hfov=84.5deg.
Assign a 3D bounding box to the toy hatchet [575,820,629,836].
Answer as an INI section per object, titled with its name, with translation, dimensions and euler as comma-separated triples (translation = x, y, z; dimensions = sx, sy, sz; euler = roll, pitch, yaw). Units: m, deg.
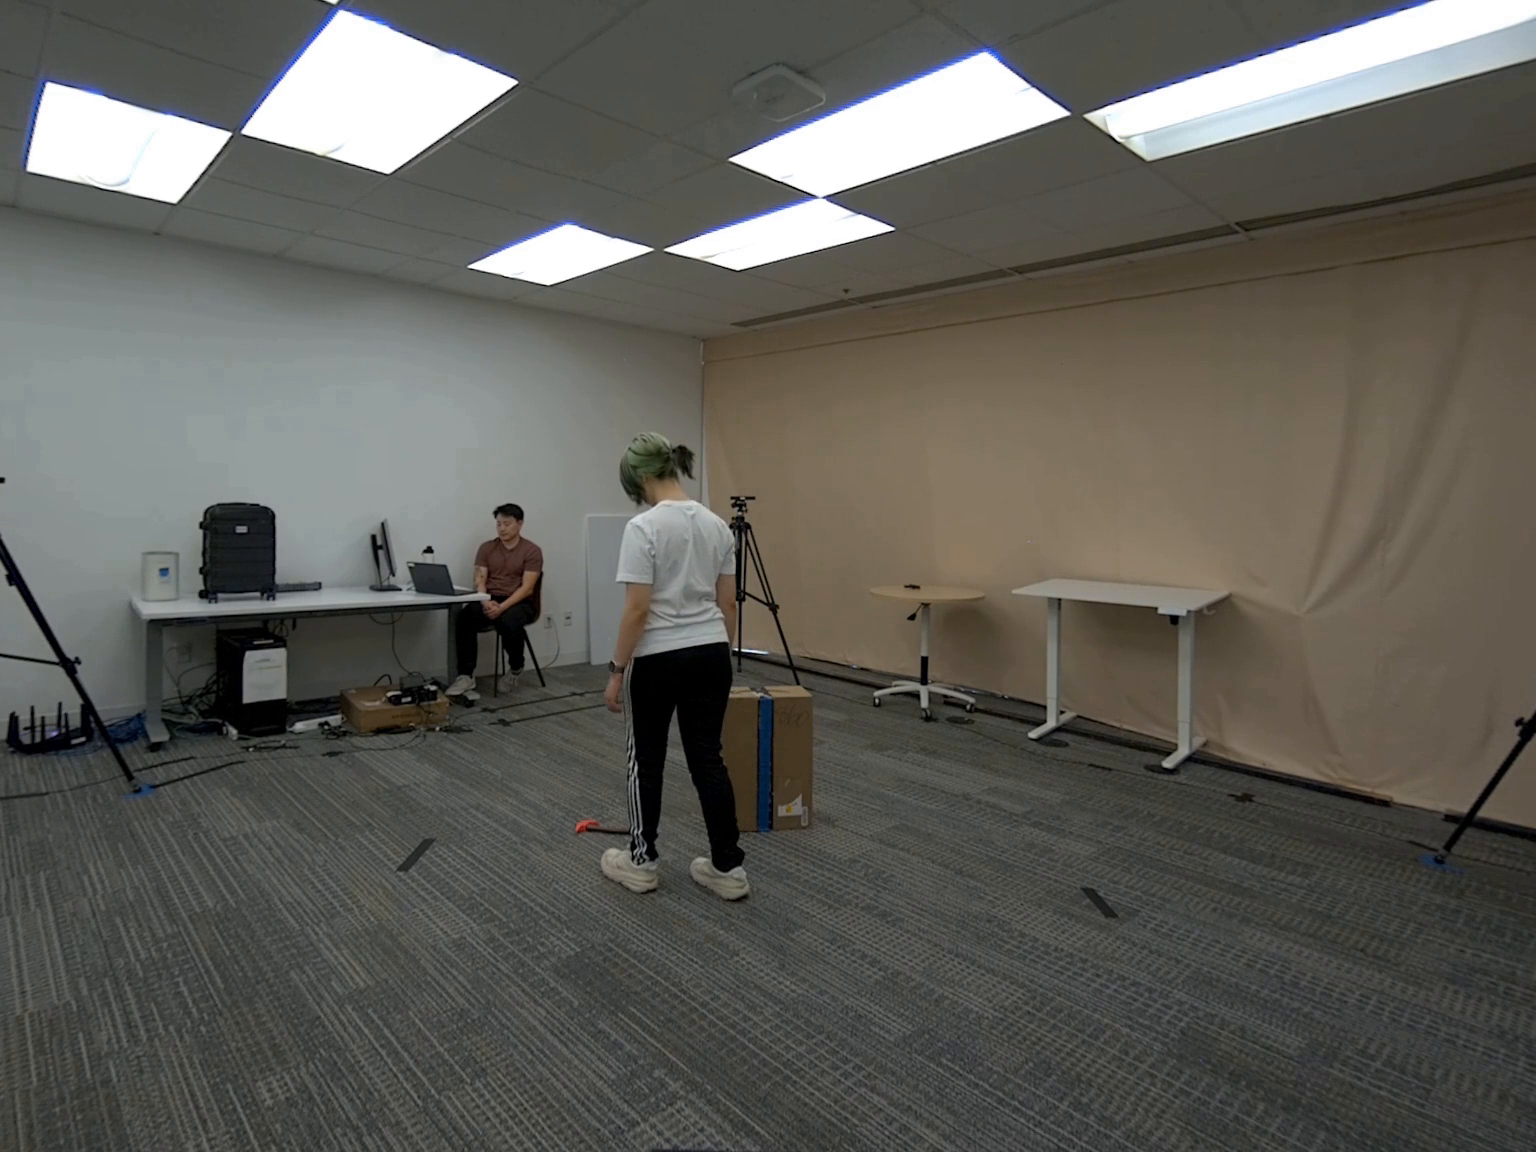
[toy hatchet]
translation = -0.672, 1.046, 3.508
dimensions = 0.269, 0.029, 0.131
euler = 3, 1, -5
